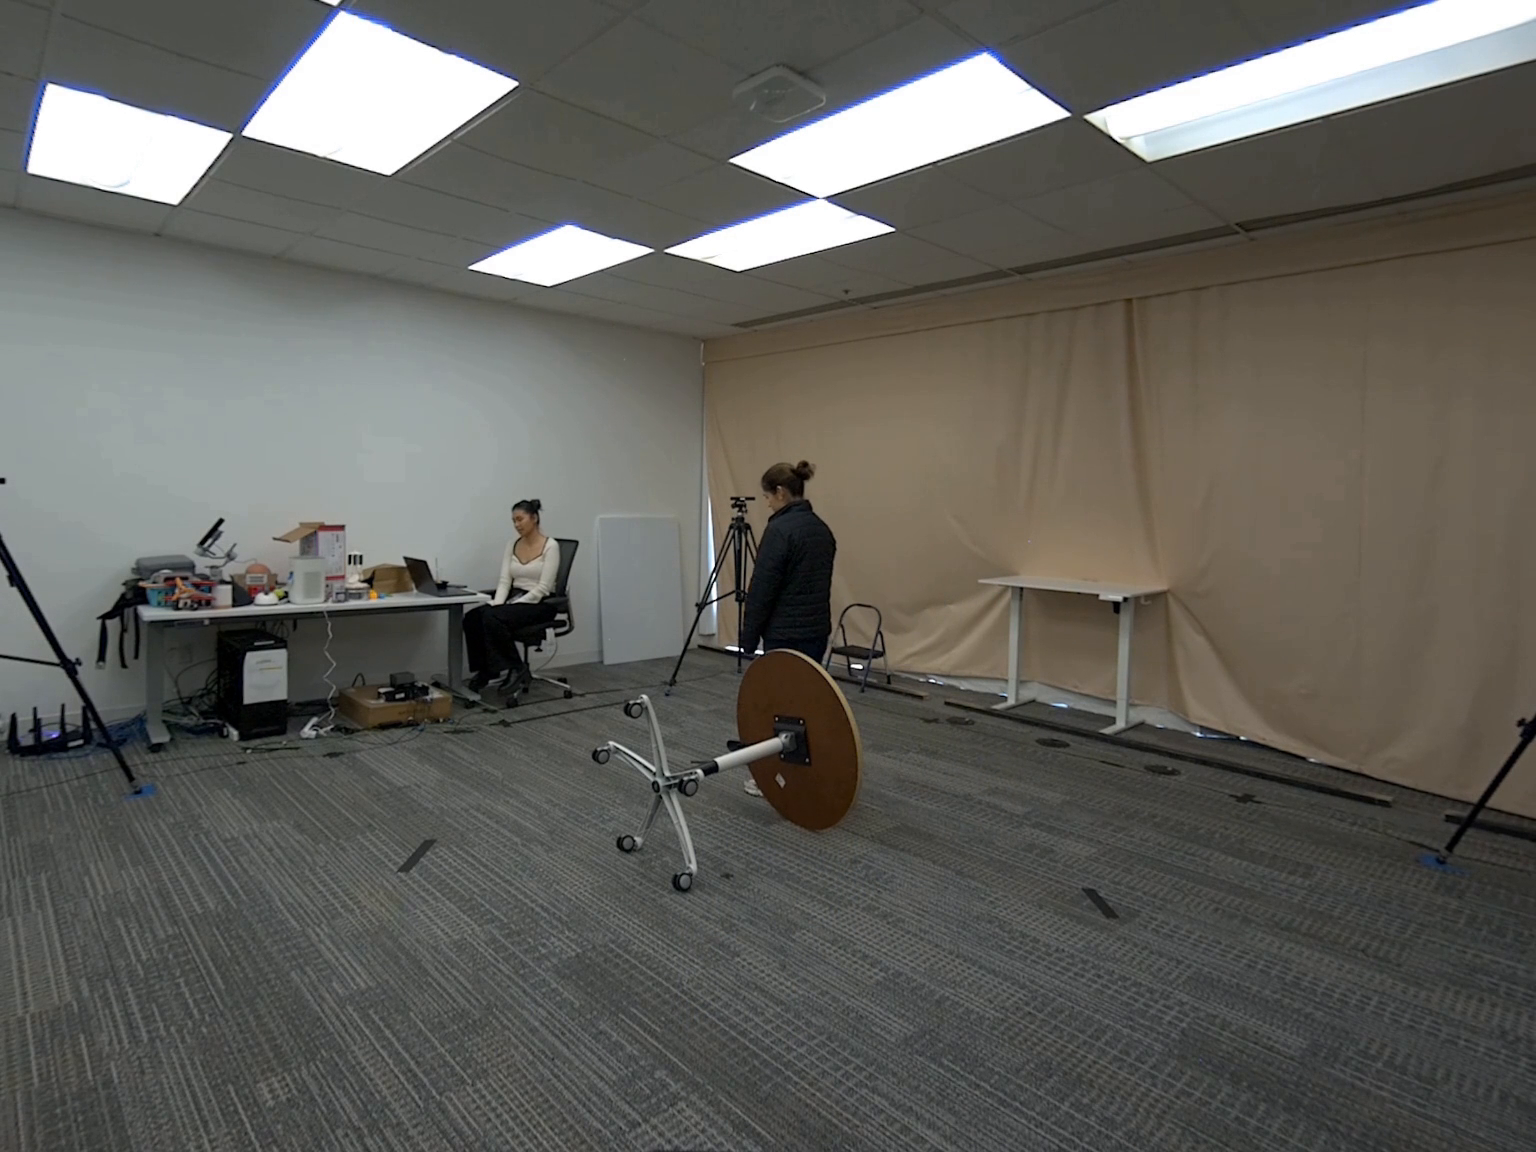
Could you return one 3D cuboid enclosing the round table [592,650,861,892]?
[{"bbox_3d":[-0.192,0.749,3.334,0.771,0.781,0.805,-8,9,-38],"label":"round table"}]
